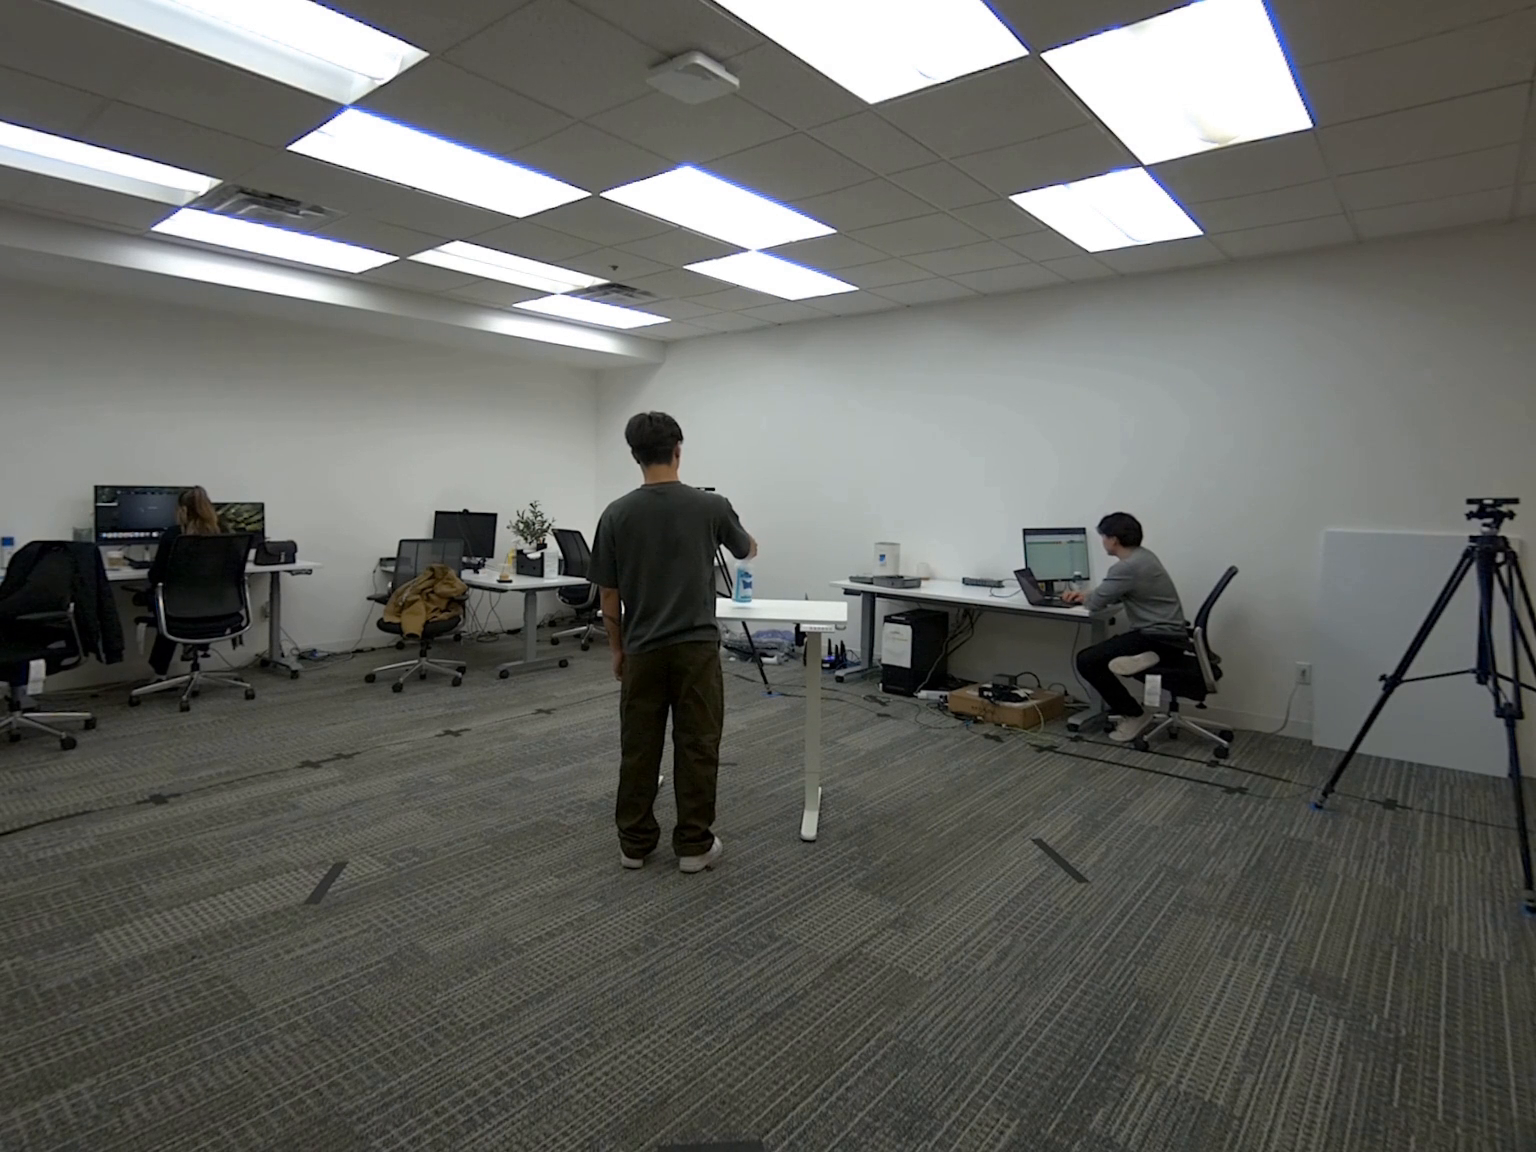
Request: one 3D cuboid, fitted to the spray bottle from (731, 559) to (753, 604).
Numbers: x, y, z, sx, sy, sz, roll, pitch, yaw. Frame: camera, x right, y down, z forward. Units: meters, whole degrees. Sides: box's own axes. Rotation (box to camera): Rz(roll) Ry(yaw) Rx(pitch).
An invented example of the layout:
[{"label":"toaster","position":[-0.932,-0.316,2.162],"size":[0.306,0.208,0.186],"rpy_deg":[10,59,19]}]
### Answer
[{"label":"spray bottle","position":[-0.107,-0.040,3.646],"size":[0.089,0.297,0.087],"rpy_deg":[4,1,30]}]
